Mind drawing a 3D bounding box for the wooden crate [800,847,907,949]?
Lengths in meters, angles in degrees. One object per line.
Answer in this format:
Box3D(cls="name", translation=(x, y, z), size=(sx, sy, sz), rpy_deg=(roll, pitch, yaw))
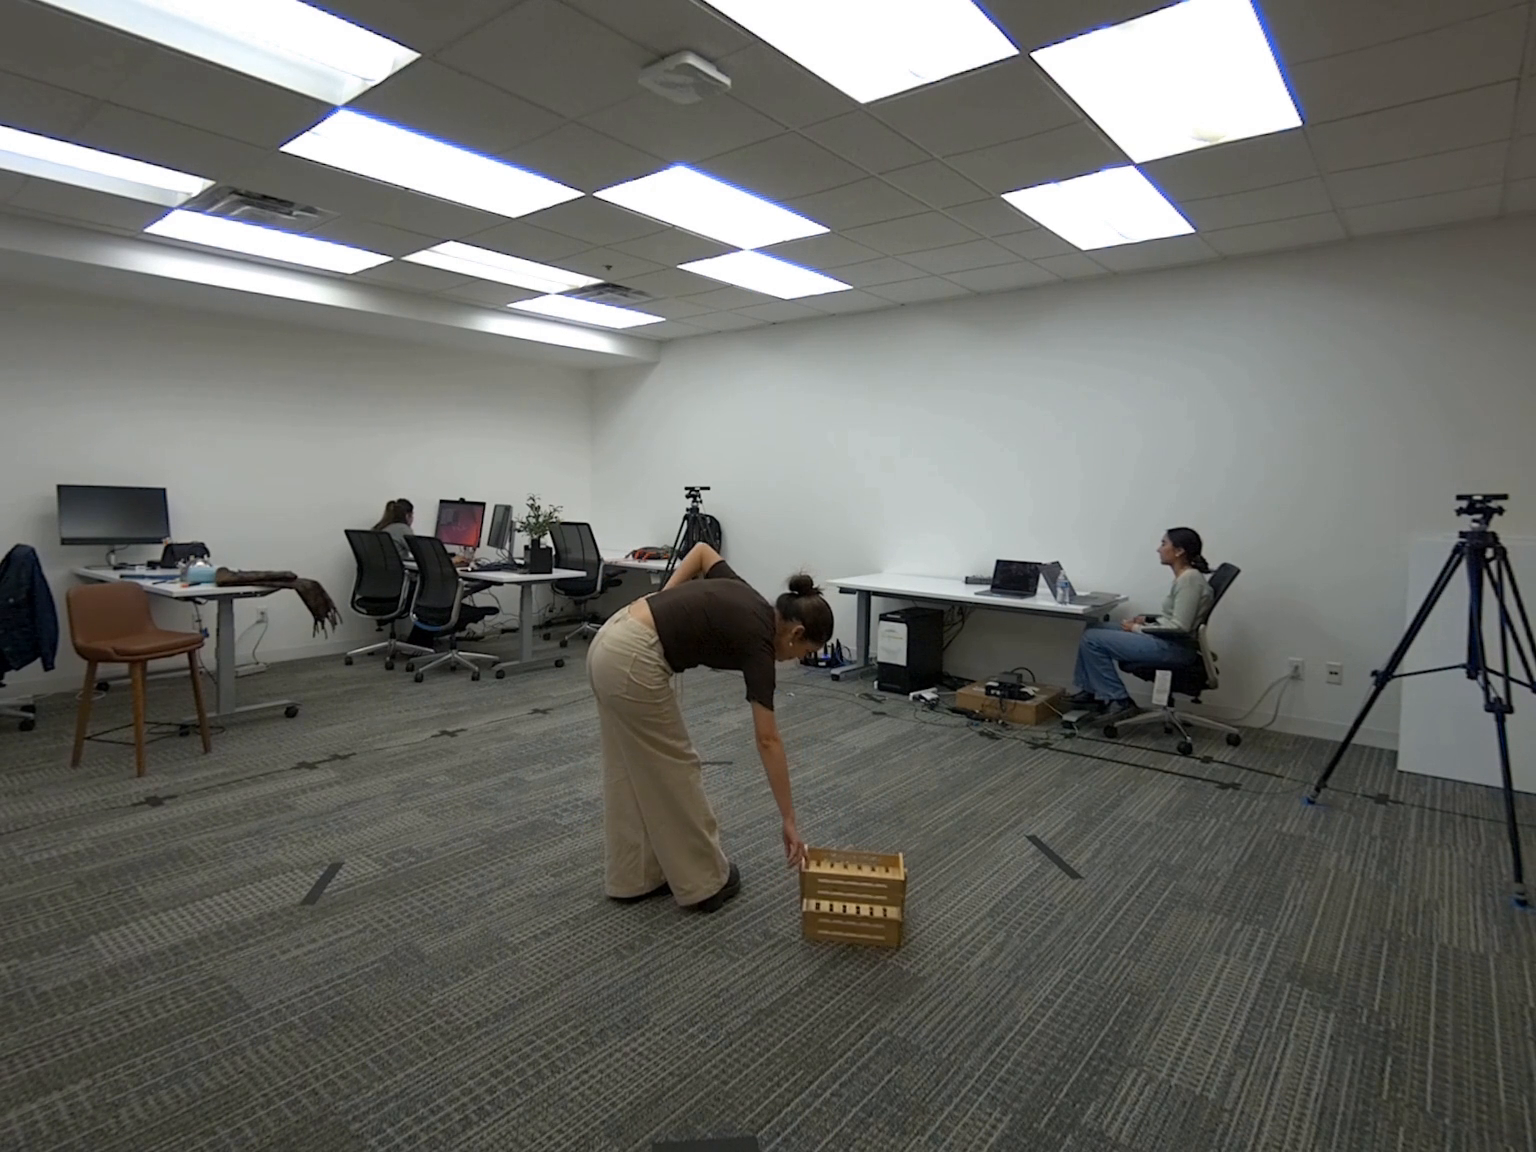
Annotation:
Box3D(cls="wooden crate", translation=(0.261, 0.972, 2.686), size=(0.327, 0.271, 0.302), rpy_deg=(1, 11, 7))
